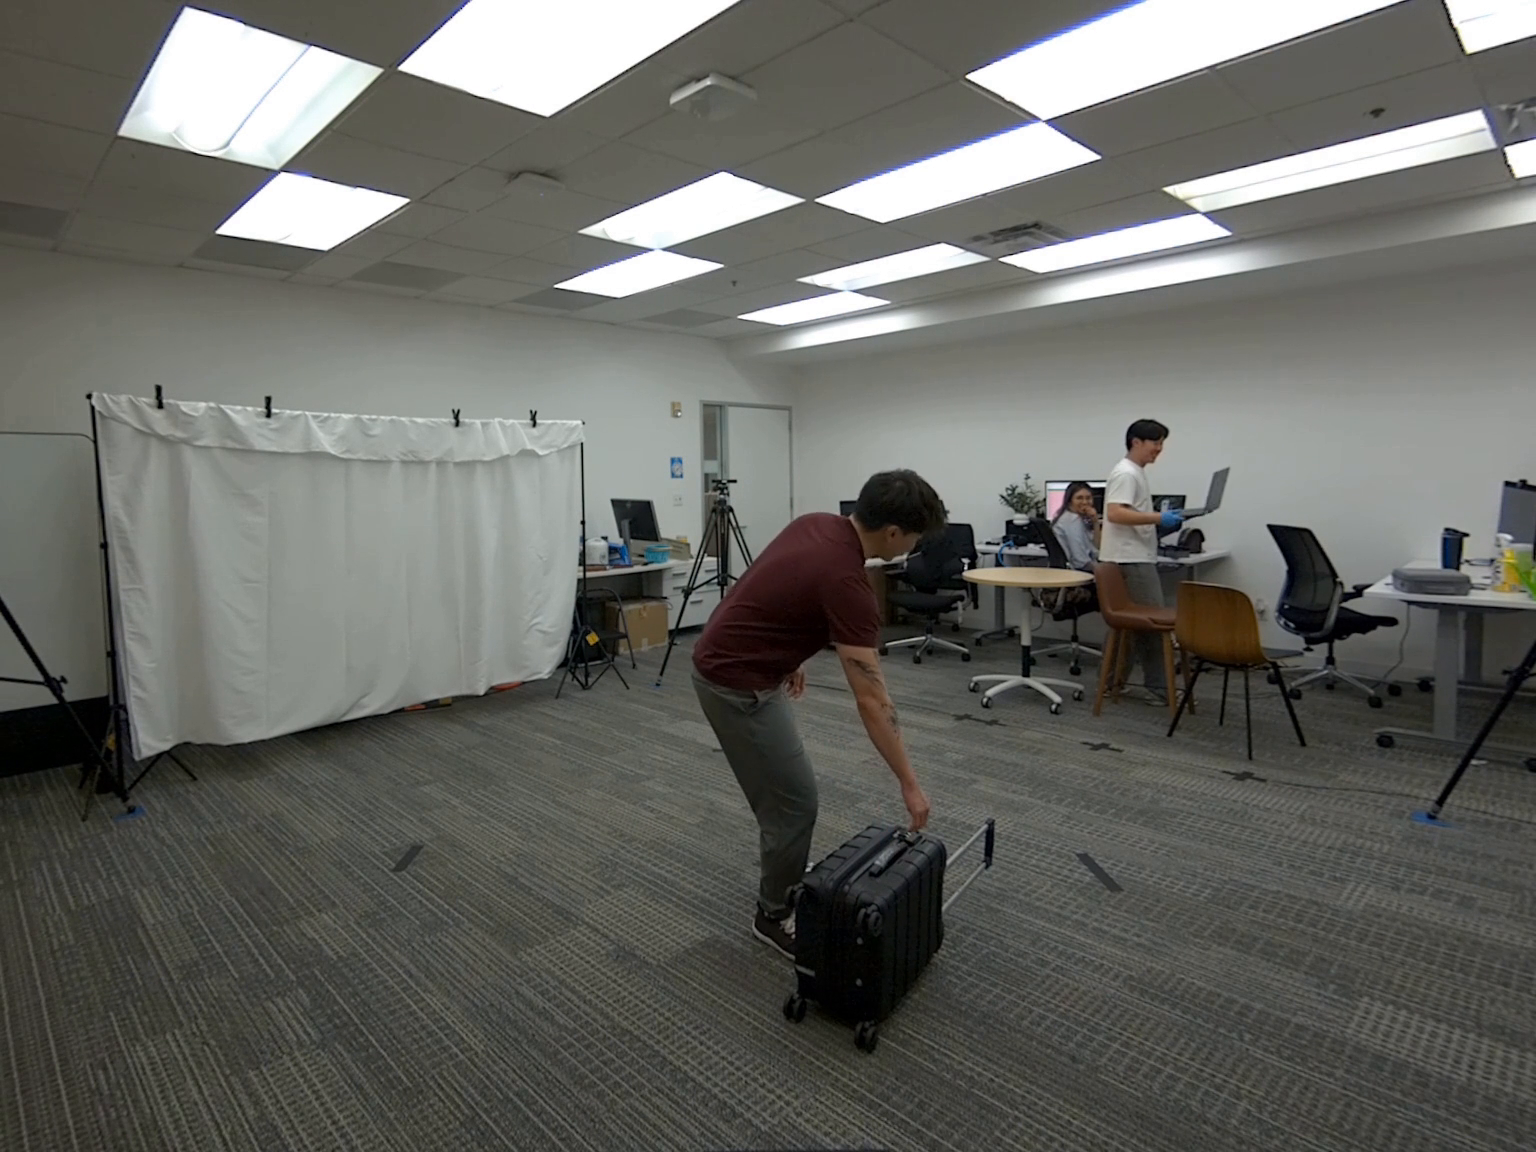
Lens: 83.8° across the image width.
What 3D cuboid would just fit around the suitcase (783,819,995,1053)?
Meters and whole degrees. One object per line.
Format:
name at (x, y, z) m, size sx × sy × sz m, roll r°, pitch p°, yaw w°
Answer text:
suitcase at (0.402, 0.918, 2.521) m, size 0.264 × 0.382 × 0.957 m, roll 3°, pitch 7°, yaw 30°
